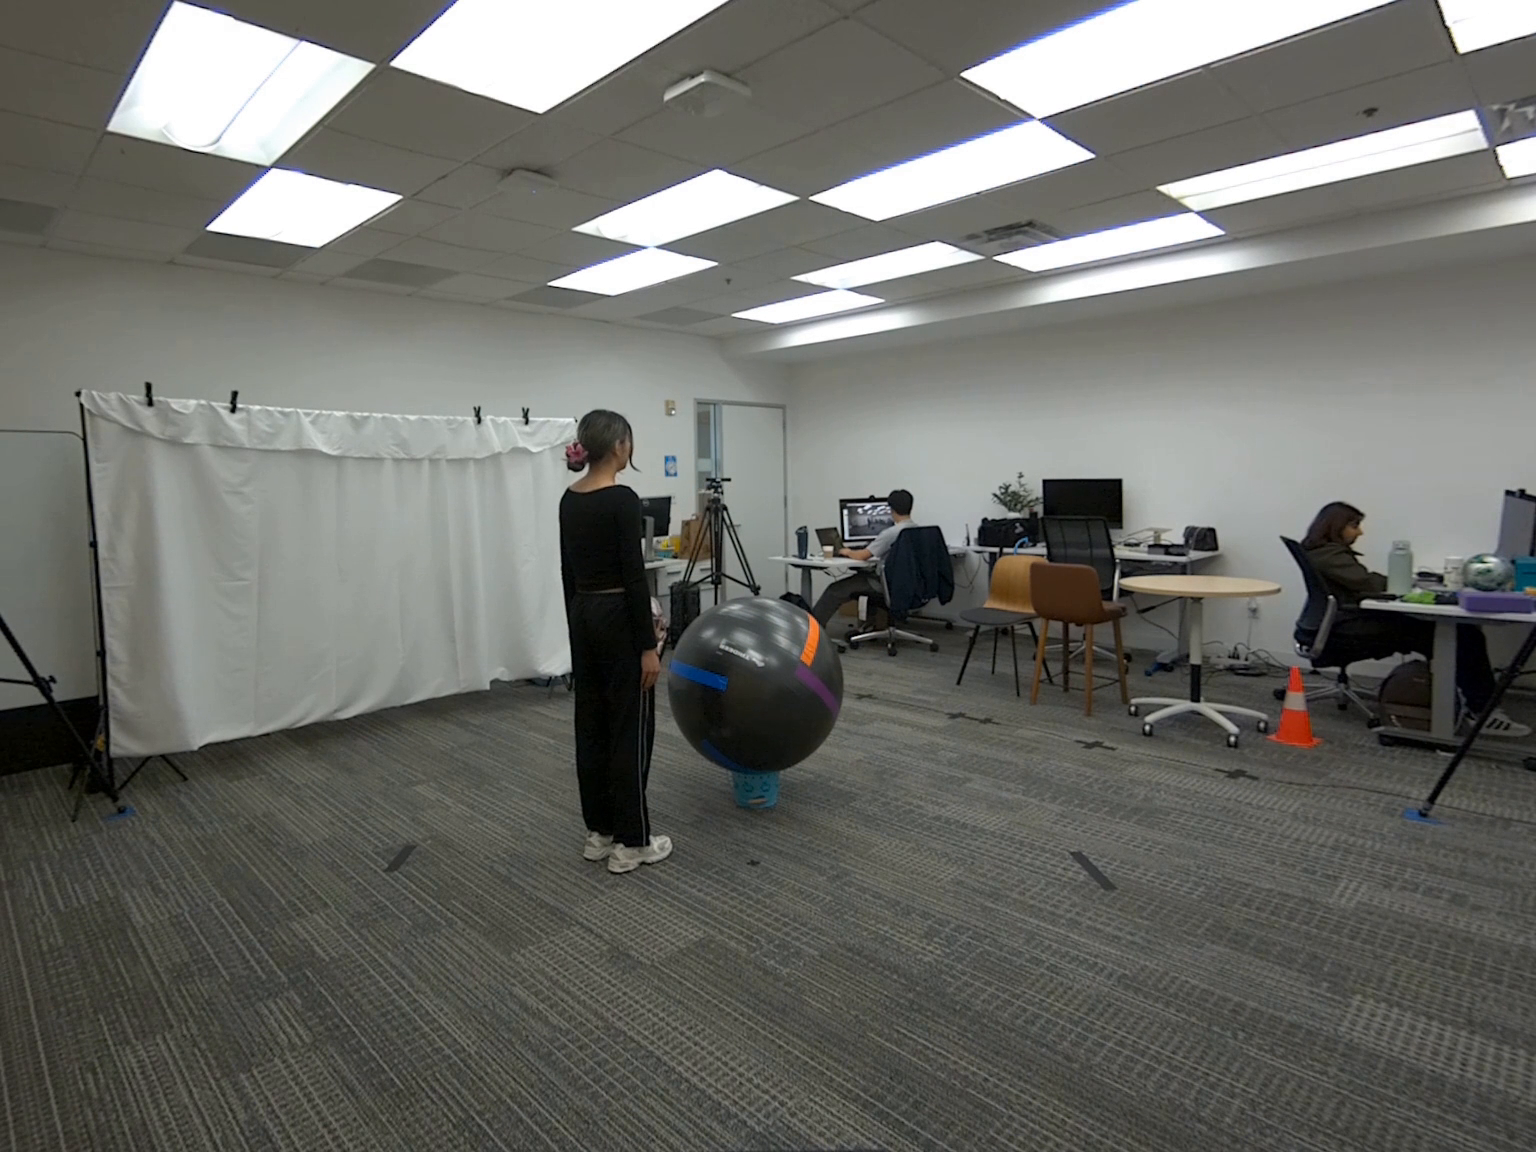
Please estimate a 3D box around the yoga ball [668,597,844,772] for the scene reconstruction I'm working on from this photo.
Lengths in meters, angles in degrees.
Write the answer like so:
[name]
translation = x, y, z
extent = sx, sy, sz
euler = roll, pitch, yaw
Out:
[yoga ball]
translation = -0.058, 0.465, 3.686
extent = 0.757, 0.755, 0.762
euler = -1, 5, -2
